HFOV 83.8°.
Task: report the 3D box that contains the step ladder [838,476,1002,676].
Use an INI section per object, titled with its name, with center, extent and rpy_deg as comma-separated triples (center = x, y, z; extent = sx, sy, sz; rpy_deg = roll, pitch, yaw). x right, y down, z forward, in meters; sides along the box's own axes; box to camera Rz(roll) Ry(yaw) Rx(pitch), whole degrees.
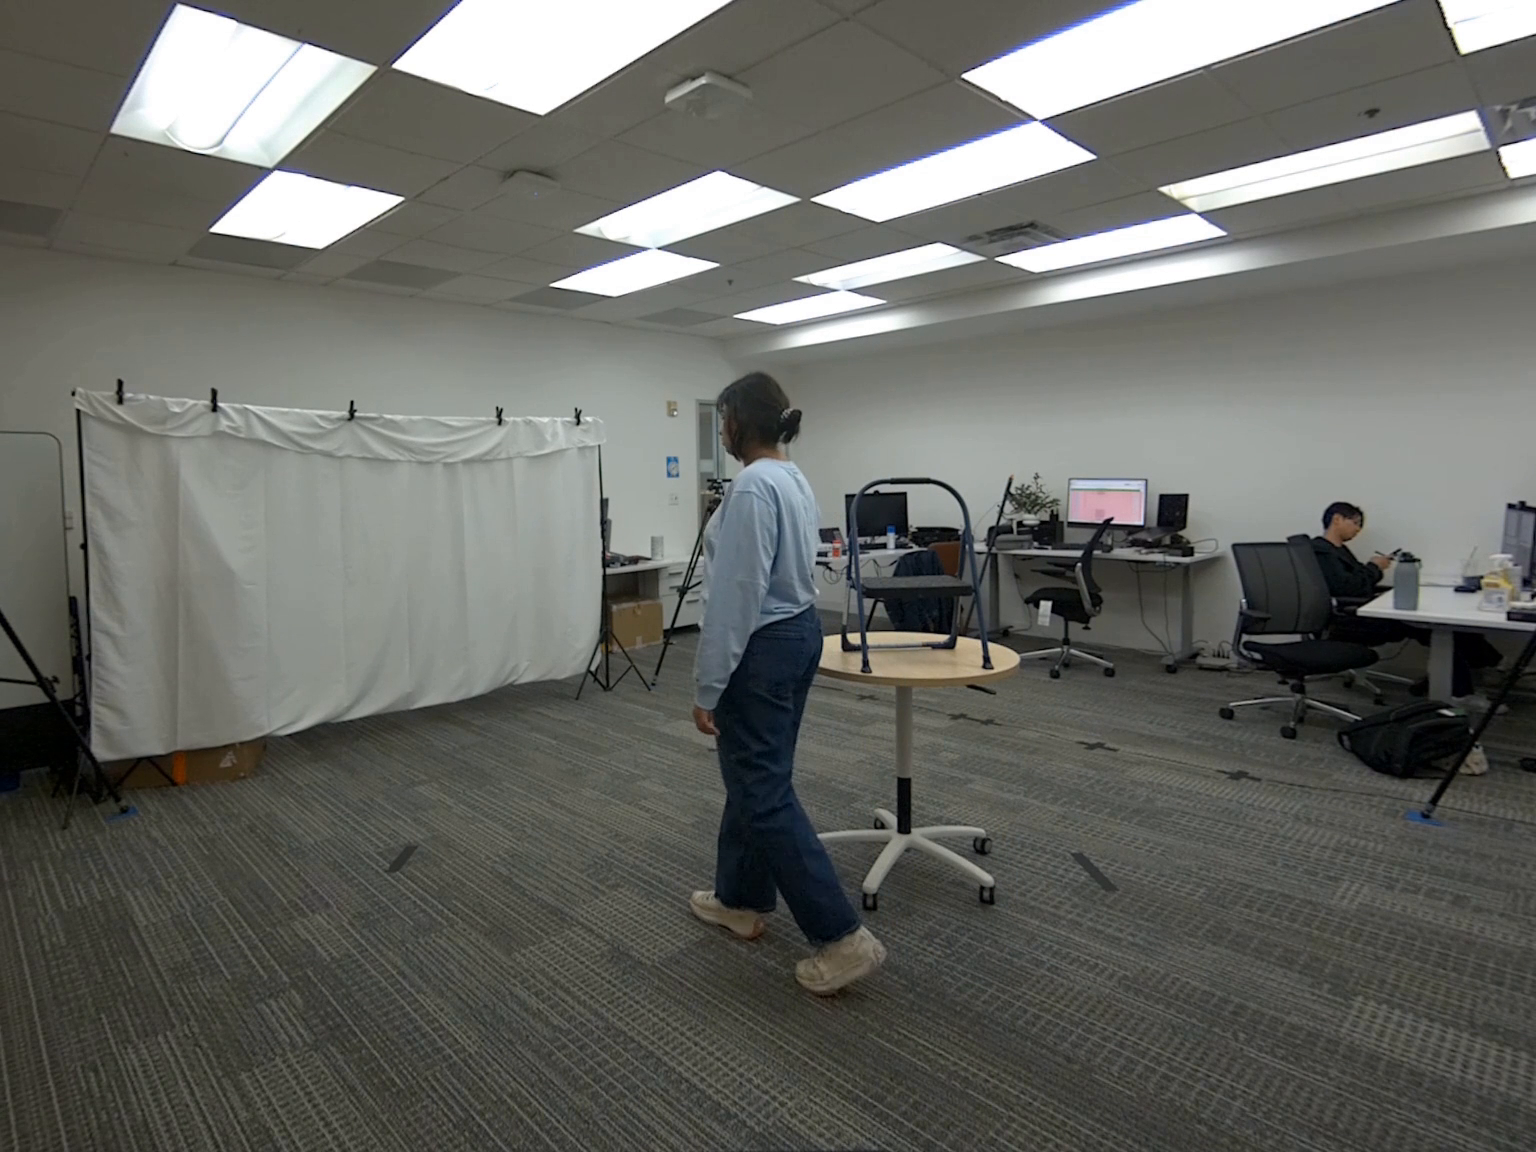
[step ladder]
center = 0.488, -0.021, 2.840
extent = 0.428, 0.603, 0.353
rpy_deg = -2, 6, -7
